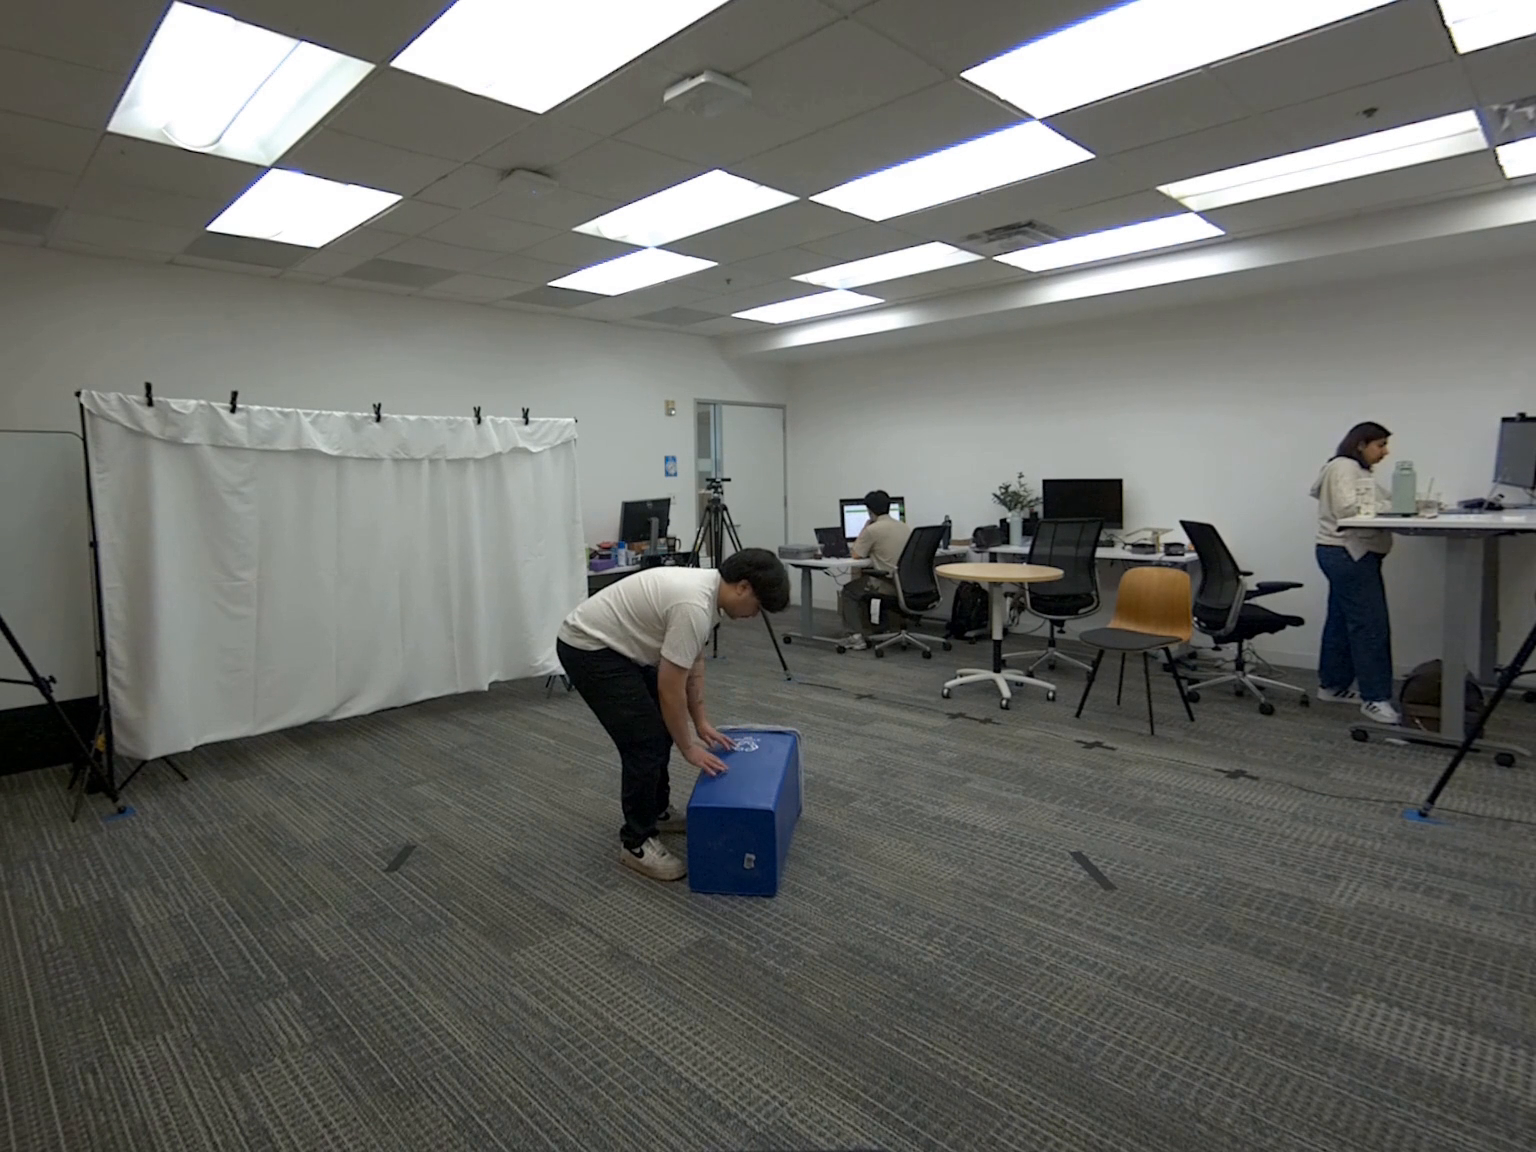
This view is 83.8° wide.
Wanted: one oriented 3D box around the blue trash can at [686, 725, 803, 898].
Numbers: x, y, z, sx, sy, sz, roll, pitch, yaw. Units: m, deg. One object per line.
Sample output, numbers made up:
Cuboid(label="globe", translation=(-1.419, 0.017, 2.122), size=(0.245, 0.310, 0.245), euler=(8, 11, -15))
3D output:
Cuboid(label="blue trash can", translation=(-0.076, 0.863, 3.202), size=(0.377, 0.375, 0.714), euler=(0, 9, 6))
